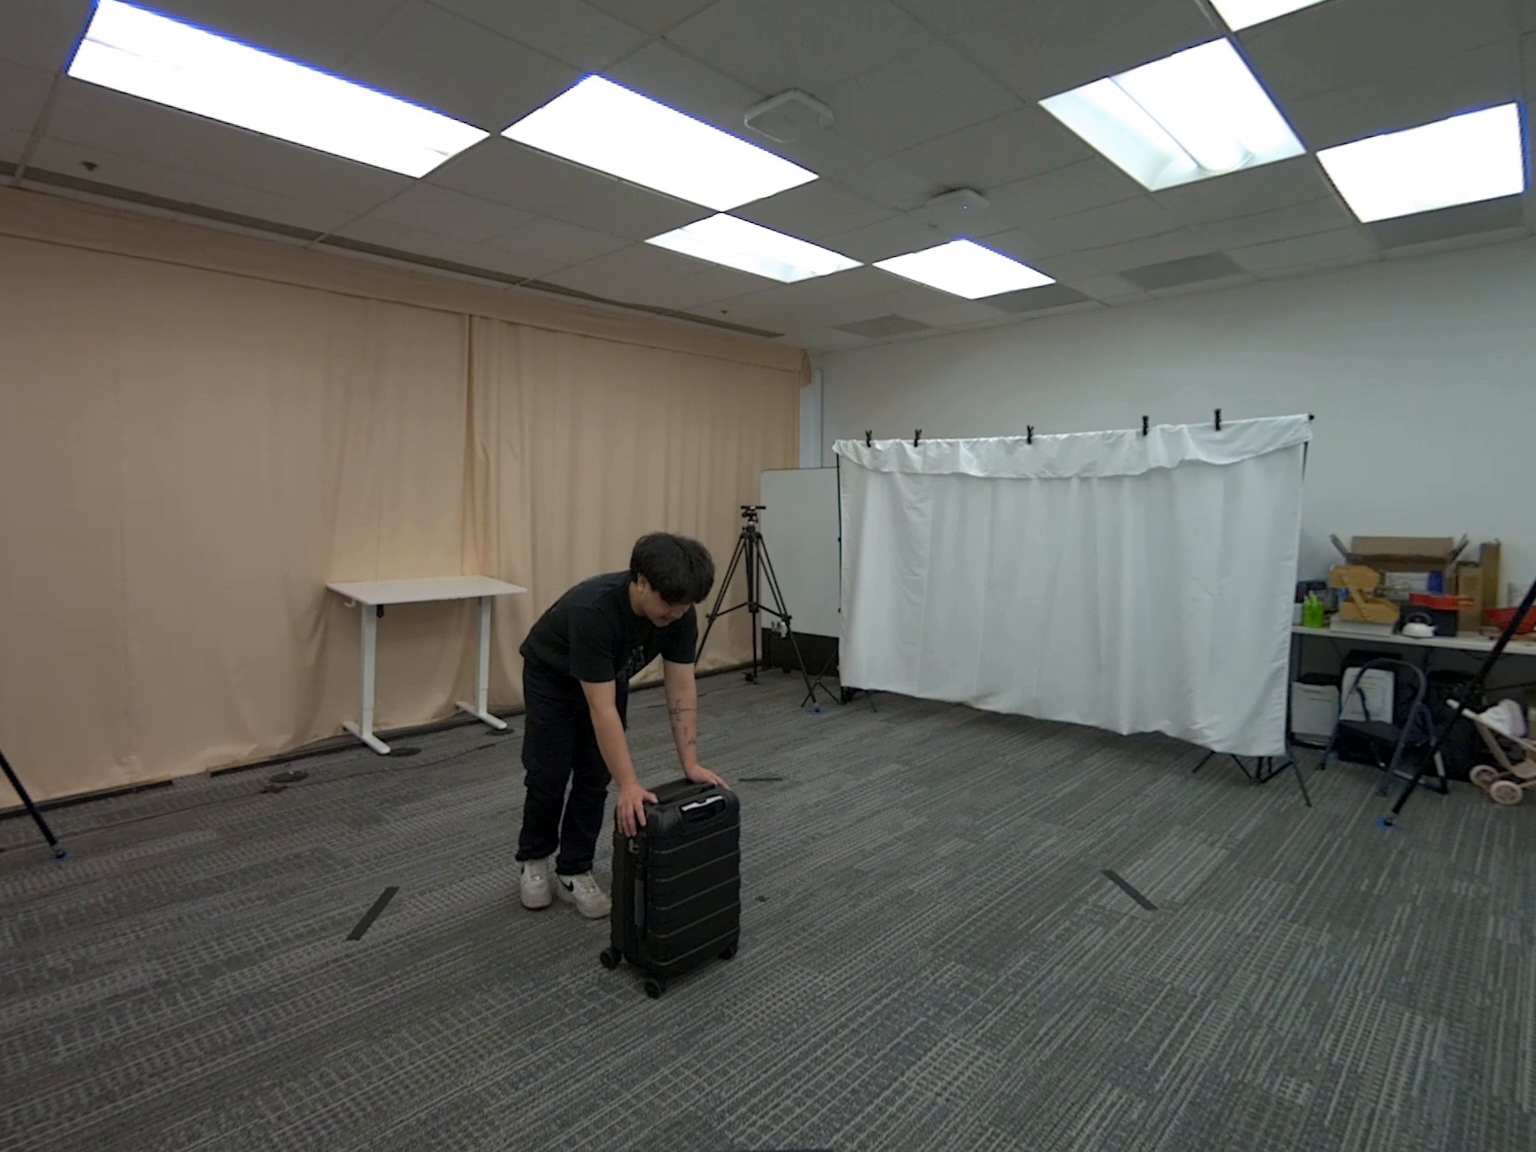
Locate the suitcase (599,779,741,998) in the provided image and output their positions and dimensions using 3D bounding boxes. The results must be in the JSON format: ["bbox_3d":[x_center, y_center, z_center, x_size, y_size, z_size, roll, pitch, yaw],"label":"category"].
[{"bbox_3d":[-0.279,0.911,2.545,0.257,0.548,0.364,6,6,44],"label":"suitcase"}]
